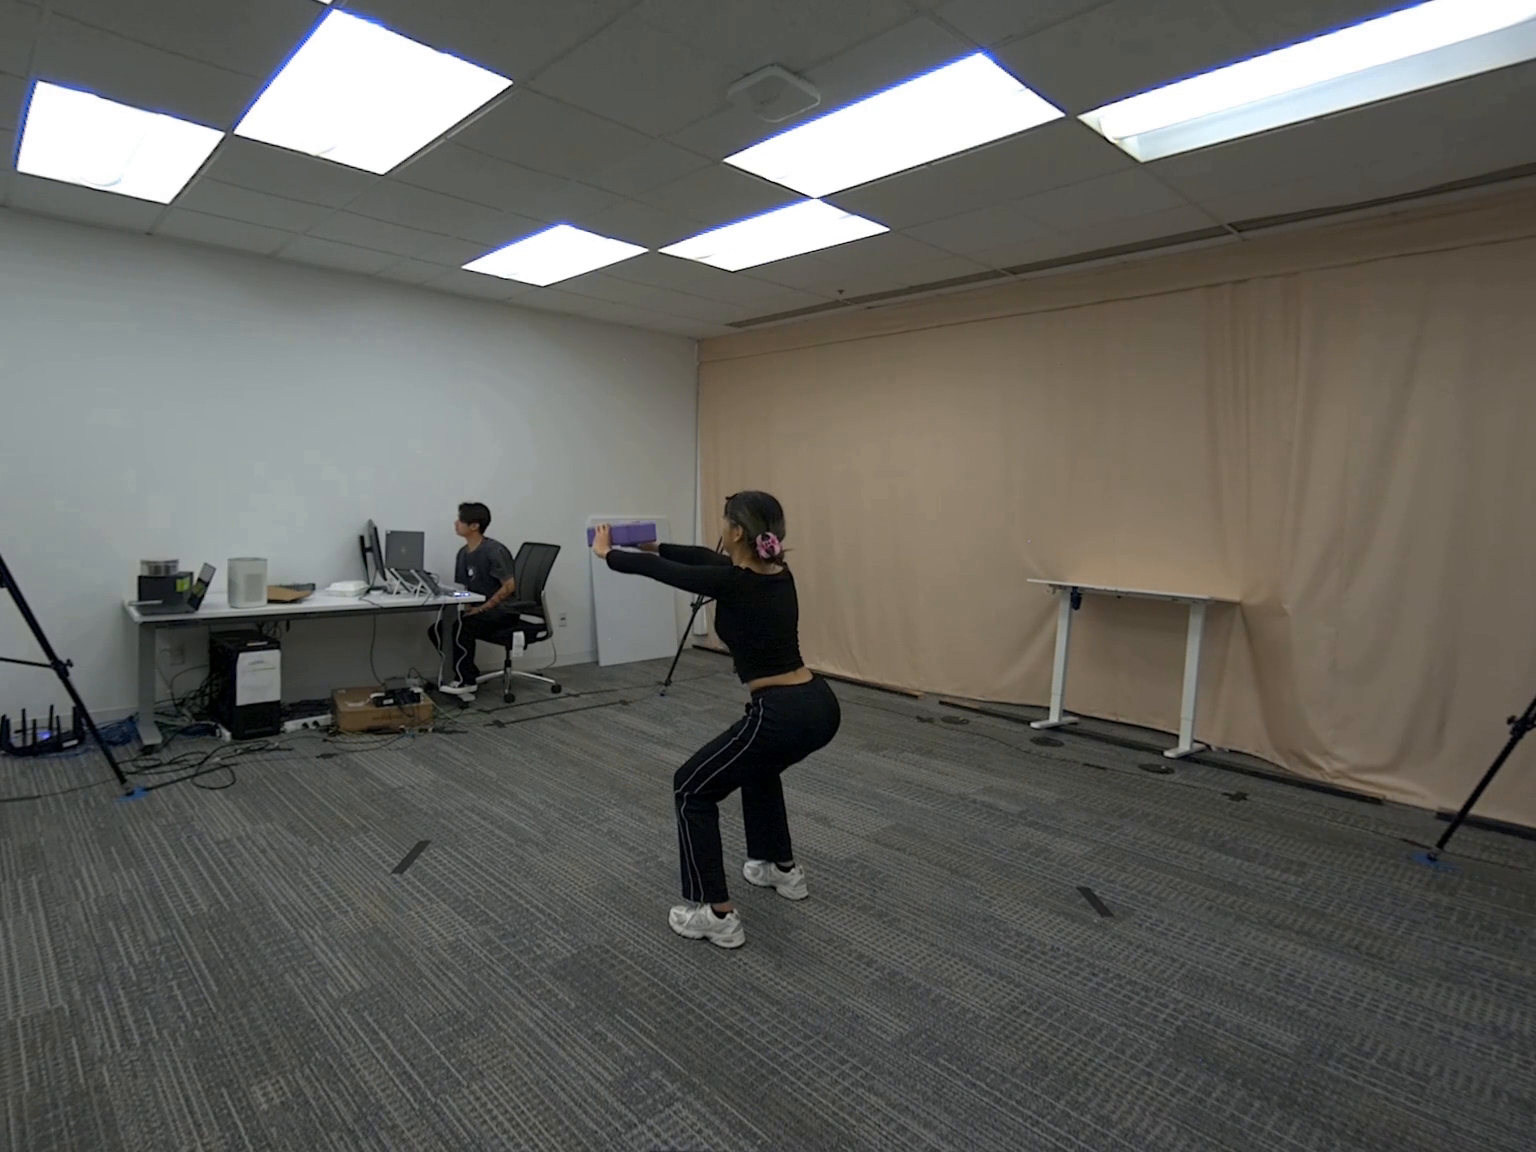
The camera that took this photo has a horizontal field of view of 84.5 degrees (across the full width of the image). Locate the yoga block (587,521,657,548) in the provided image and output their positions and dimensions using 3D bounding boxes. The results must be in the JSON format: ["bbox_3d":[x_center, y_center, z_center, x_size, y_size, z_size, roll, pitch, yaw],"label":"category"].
[{"bbox_3d":[-0.555,-0.153,3.104,0.234,0.076,0.146,-2,5,42],"label":"yoga block"}]
